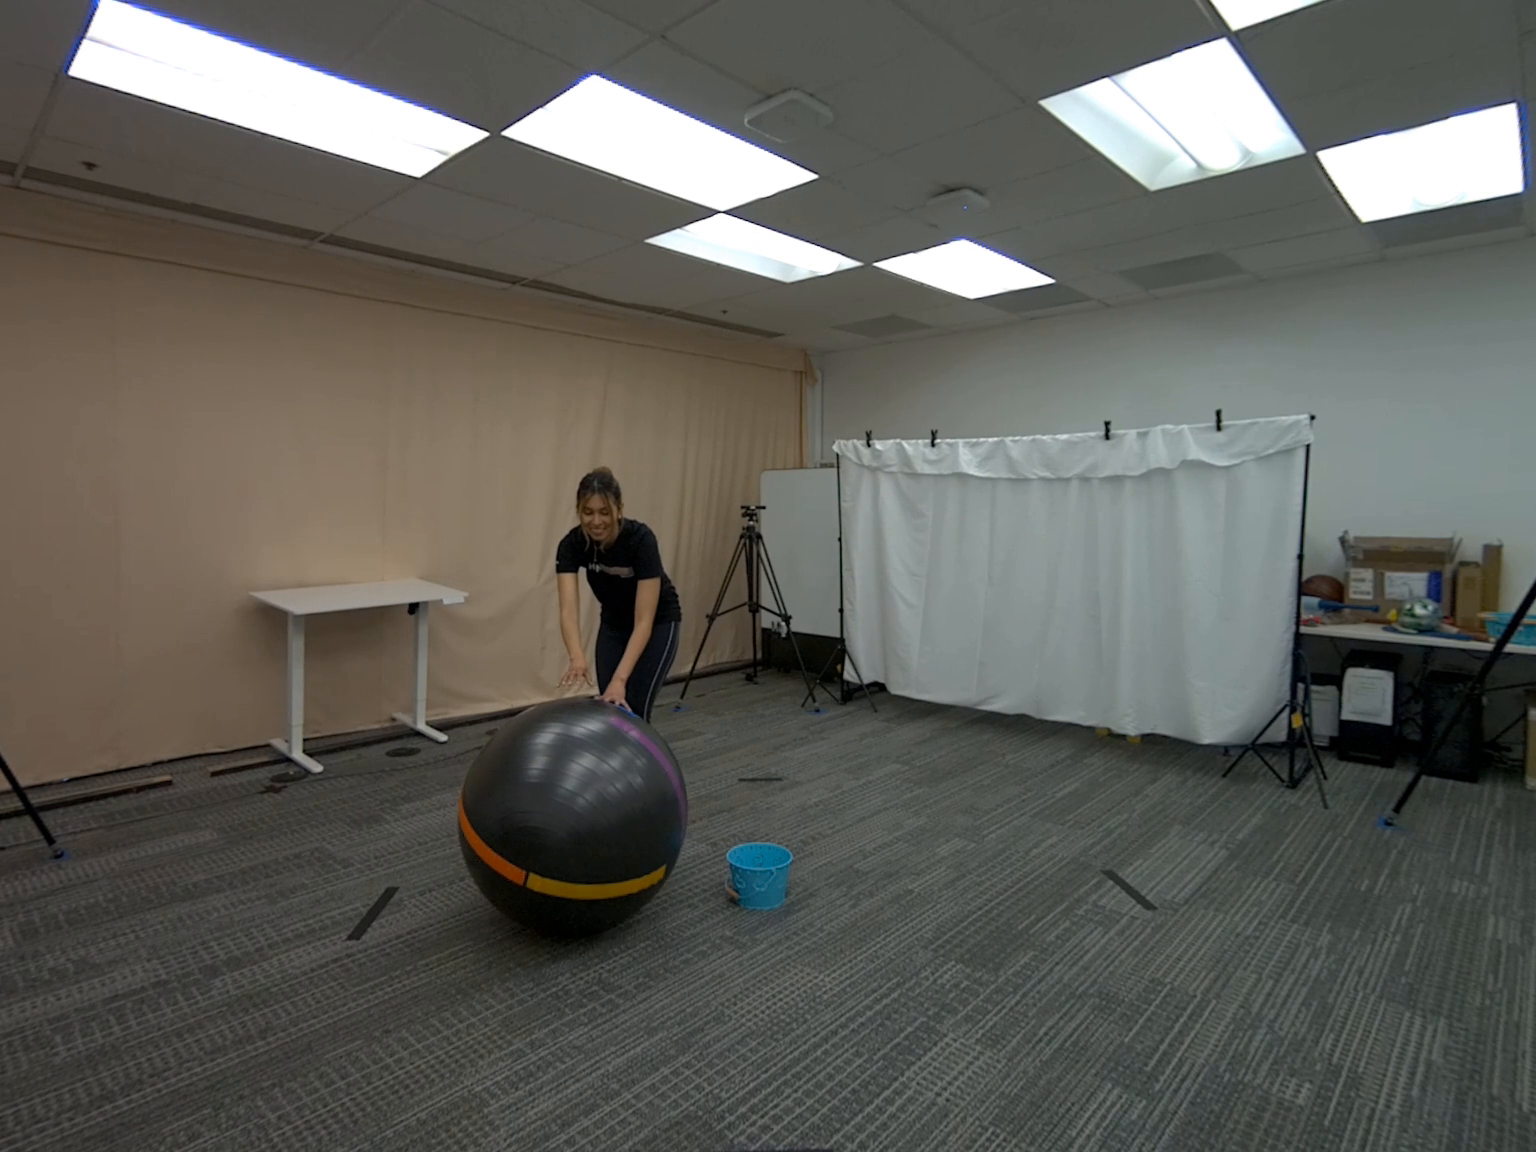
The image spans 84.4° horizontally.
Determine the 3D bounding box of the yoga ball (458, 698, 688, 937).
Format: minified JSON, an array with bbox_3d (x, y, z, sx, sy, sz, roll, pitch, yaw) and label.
[{"bbox_3d":[-0.649,0.798,2.827,0.757,0.756,0.760,0,4,-2],"label":"yoga ball"}]
